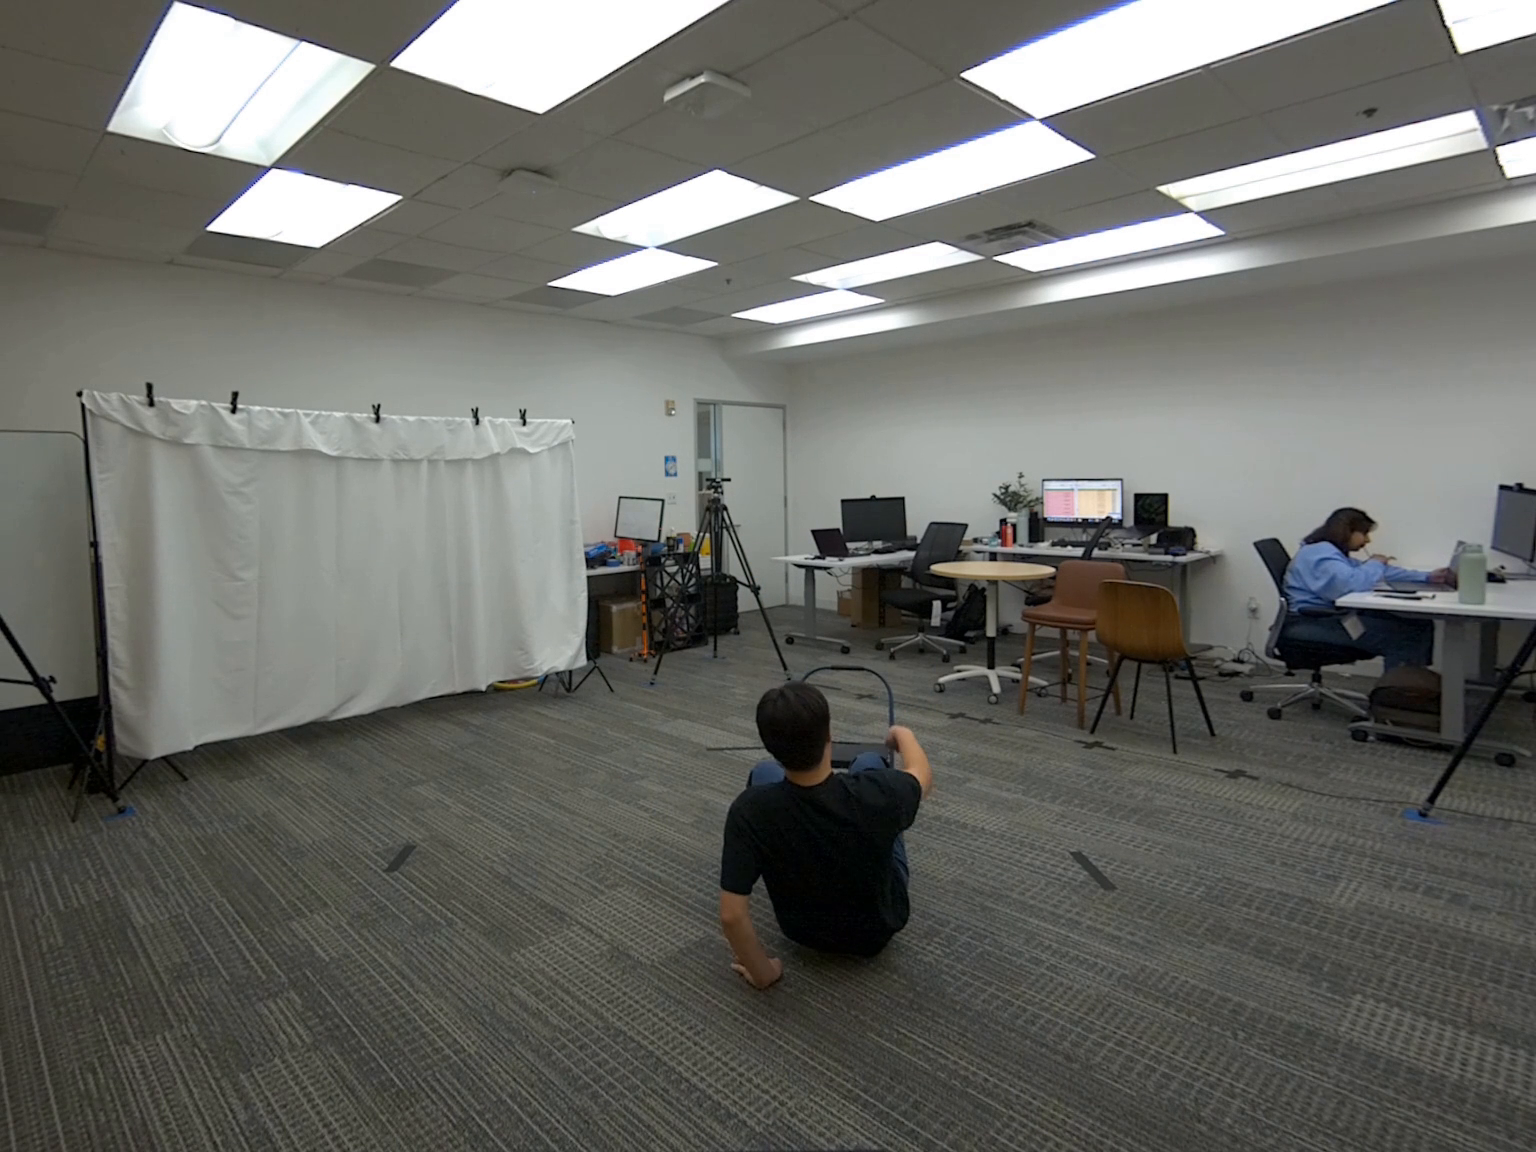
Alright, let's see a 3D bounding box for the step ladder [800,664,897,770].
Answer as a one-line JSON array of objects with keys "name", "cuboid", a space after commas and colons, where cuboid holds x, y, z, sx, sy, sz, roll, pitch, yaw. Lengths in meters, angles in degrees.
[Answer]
[{"name": "step ladder", "cuboid": [0.316, 0.686, 3.529, 0.435, 0.603, 0.347, 0, 5, 9]}]
